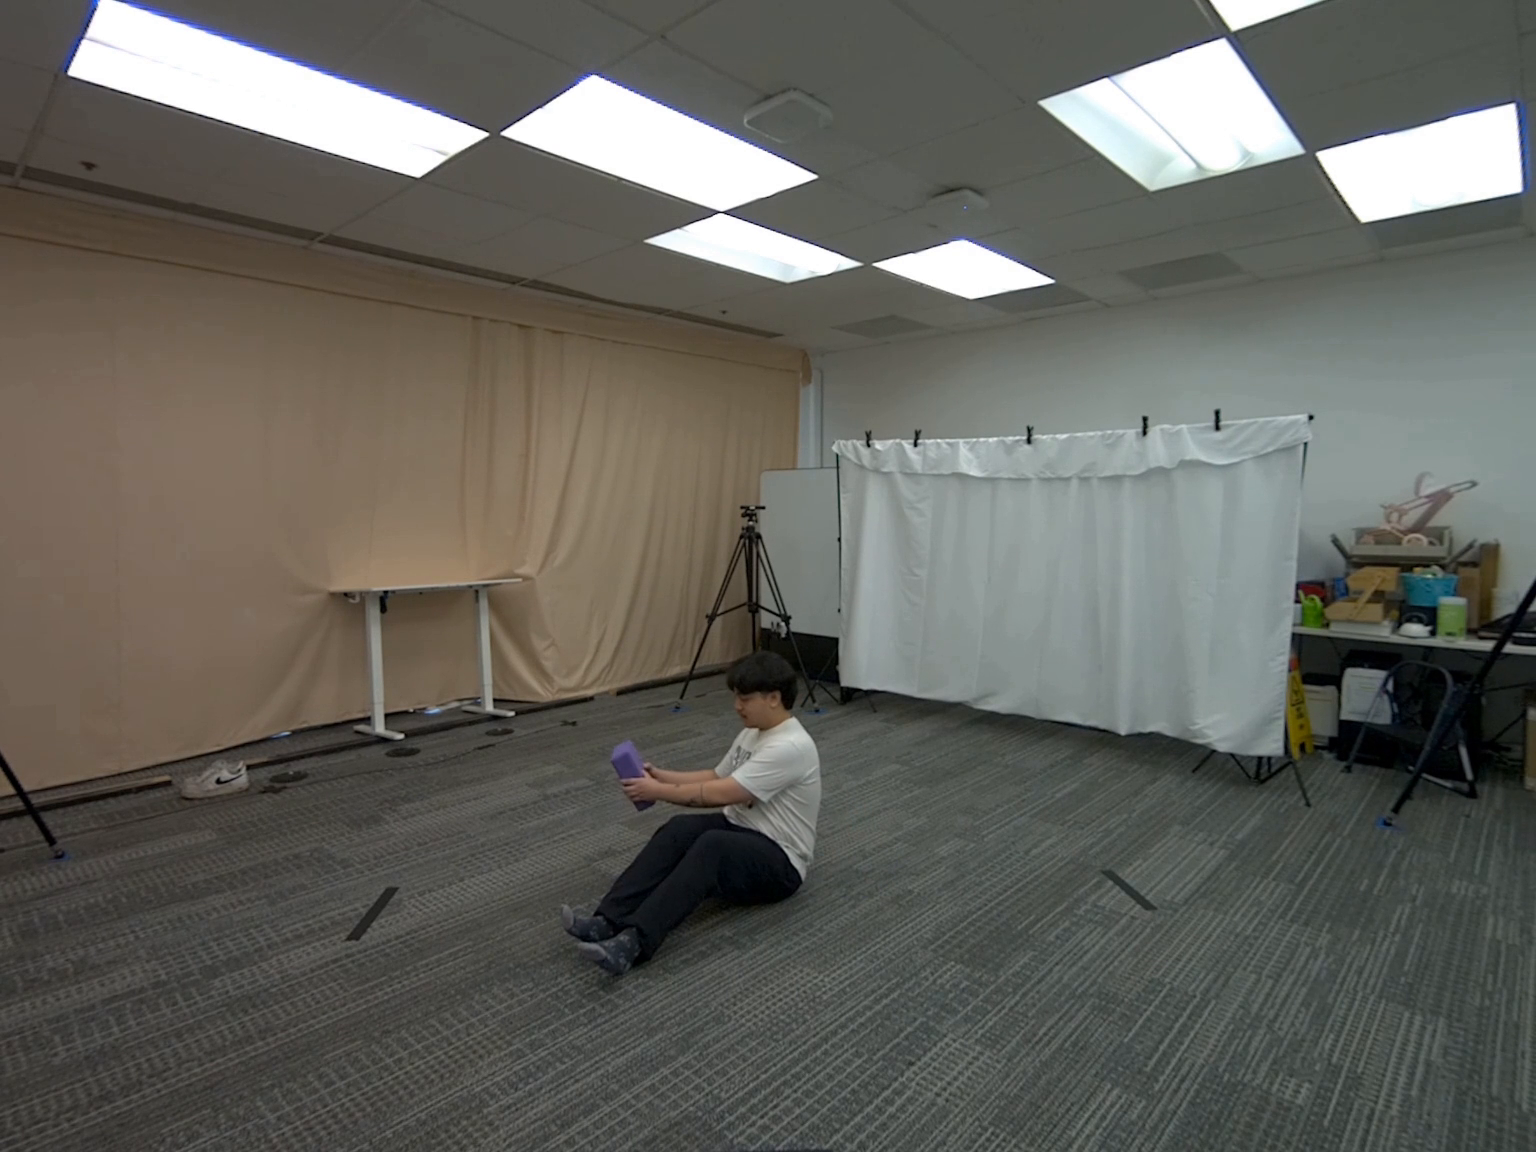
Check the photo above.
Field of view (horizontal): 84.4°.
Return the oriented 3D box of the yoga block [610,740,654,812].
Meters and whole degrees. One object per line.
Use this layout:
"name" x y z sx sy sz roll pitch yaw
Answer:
"yoga block" -0.494 0.755 3.164 0.076 0.228 0.149 -24 5 0
